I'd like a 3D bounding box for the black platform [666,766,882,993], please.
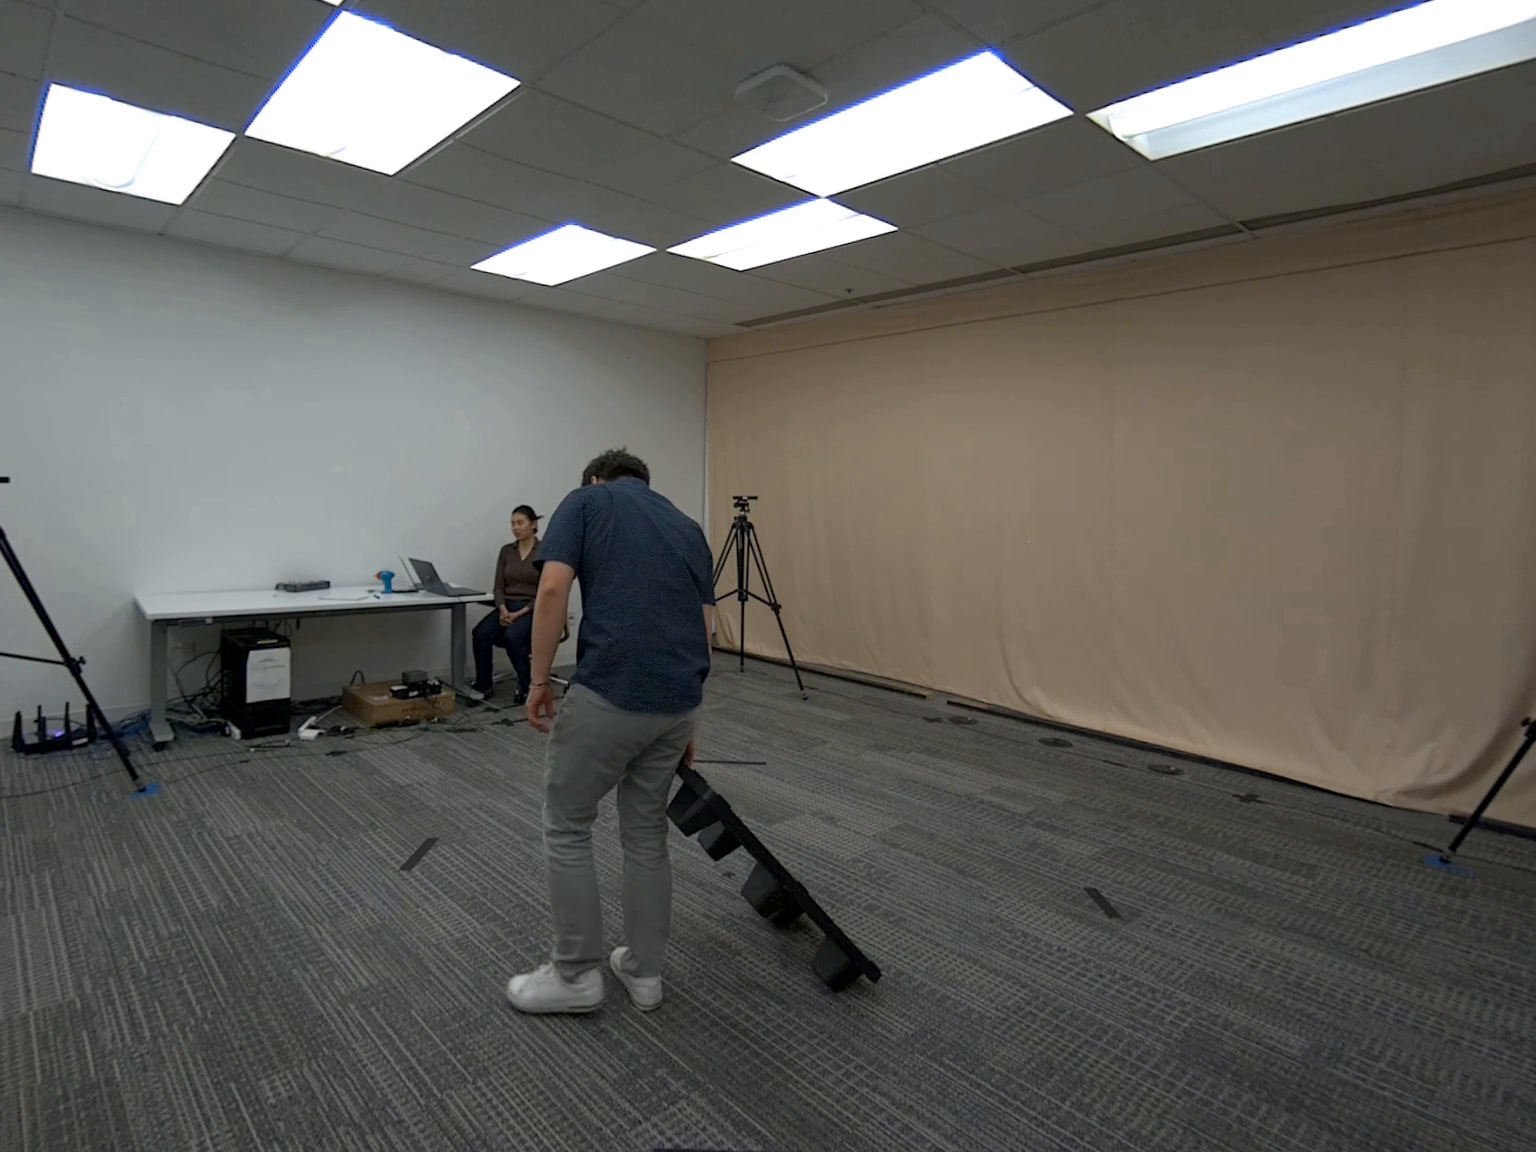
[{"bbox_3d":[-0.075,0.845,2.492,0.143,0.791,0.617,-42,18,-14],"label":"black platform"}]
